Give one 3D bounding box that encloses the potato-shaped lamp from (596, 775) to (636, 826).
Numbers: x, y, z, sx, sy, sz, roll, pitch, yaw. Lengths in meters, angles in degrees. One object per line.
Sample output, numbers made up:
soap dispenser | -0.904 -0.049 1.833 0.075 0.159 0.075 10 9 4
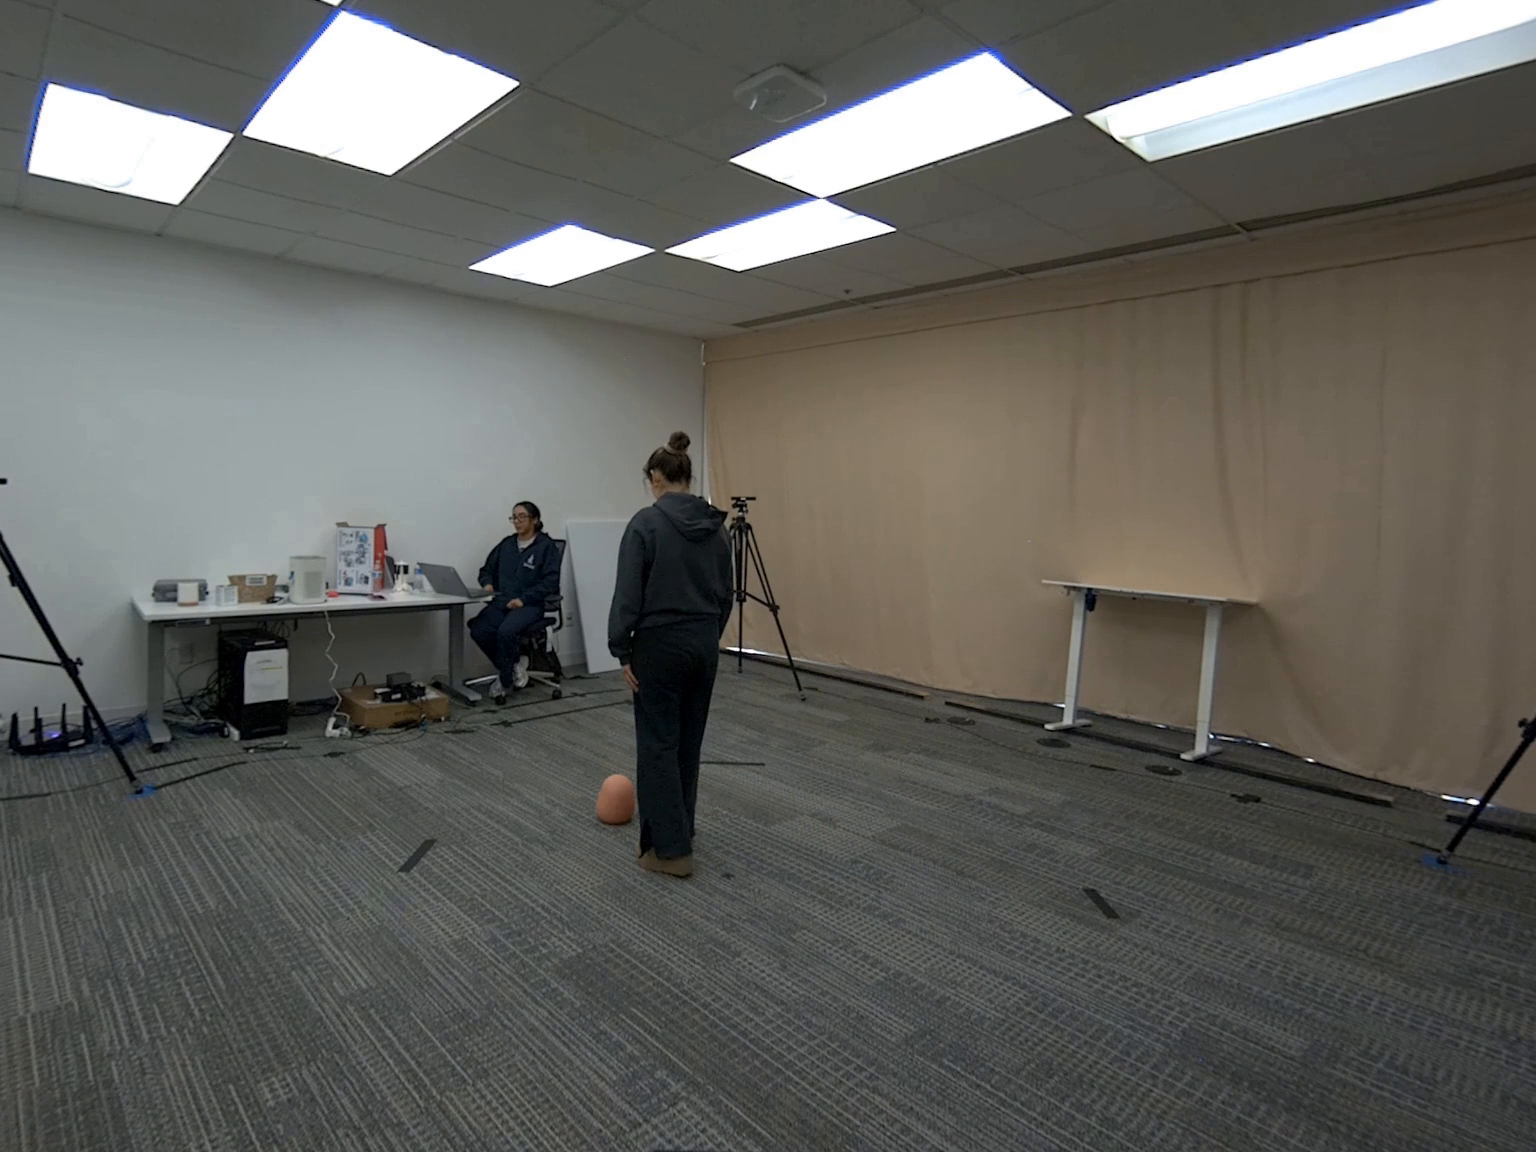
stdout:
potato-shaped lamp | -0.663 0.949 3.615 0.161 0.197 0.176 -1 6 -34
